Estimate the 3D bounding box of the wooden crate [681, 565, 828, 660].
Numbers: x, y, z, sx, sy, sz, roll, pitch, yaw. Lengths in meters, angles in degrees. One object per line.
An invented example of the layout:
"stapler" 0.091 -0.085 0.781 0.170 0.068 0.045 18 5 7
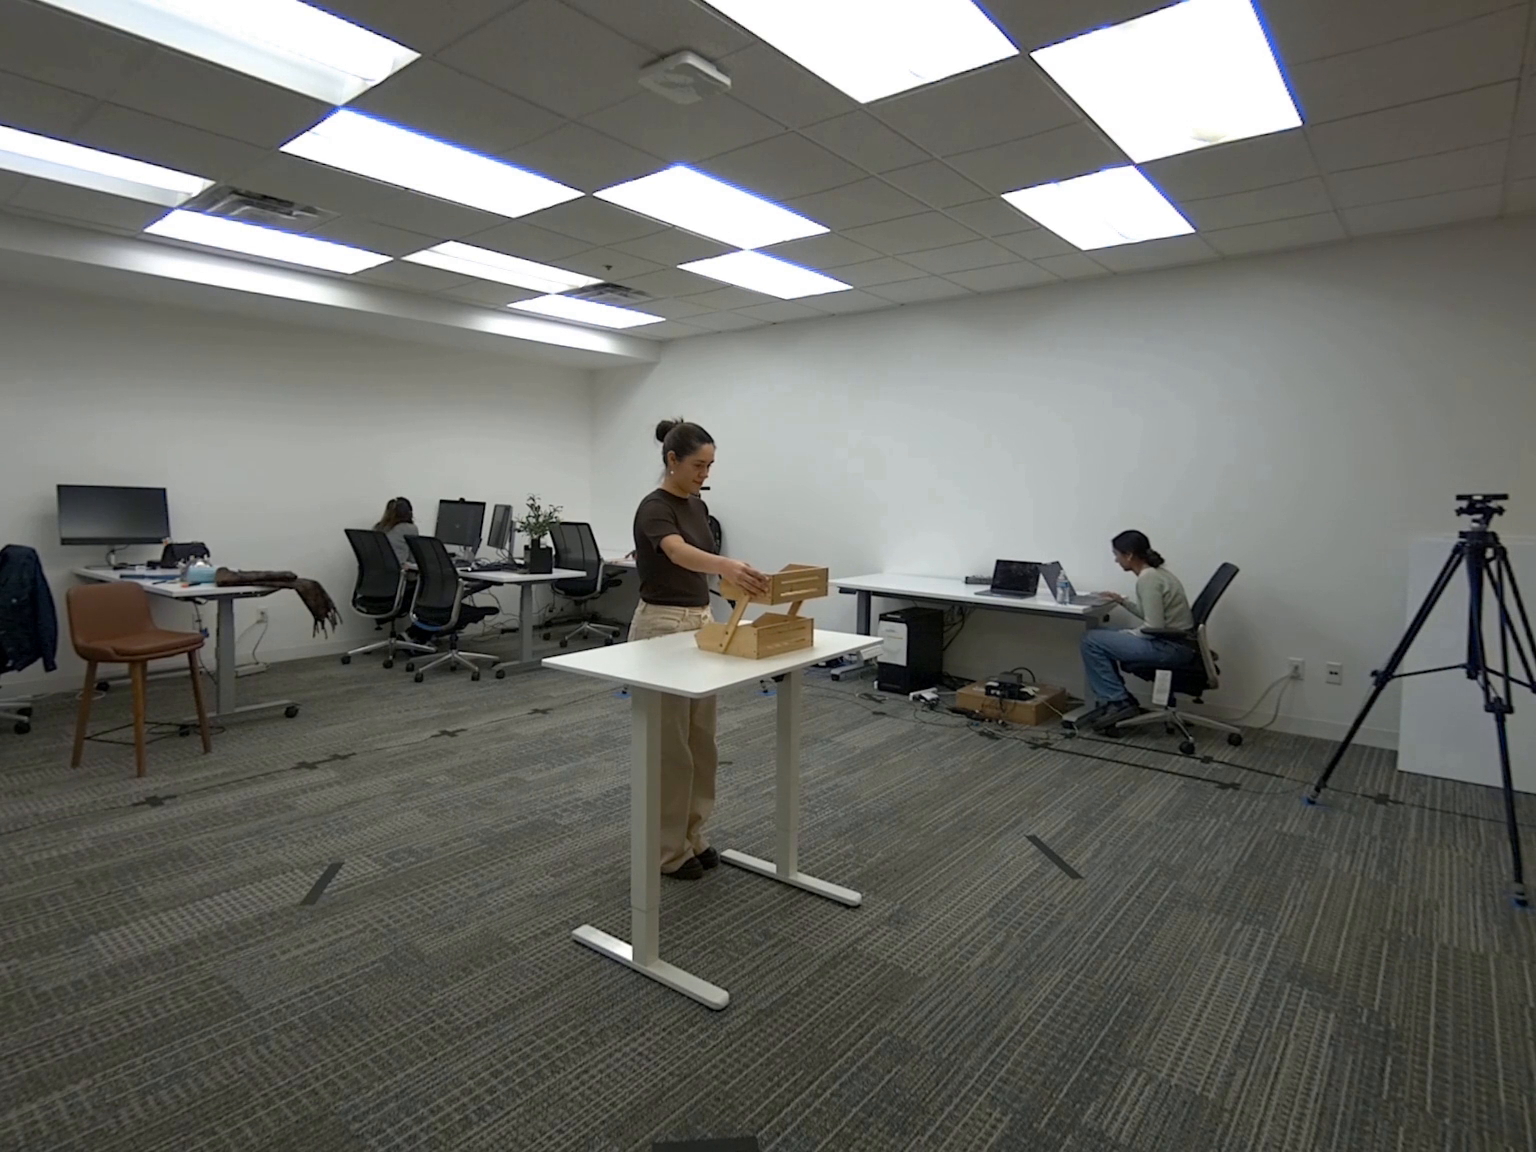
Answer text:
"wooden crate" -0.027 0.096 2.687 0.312 0.272 0.315 6 8 39
